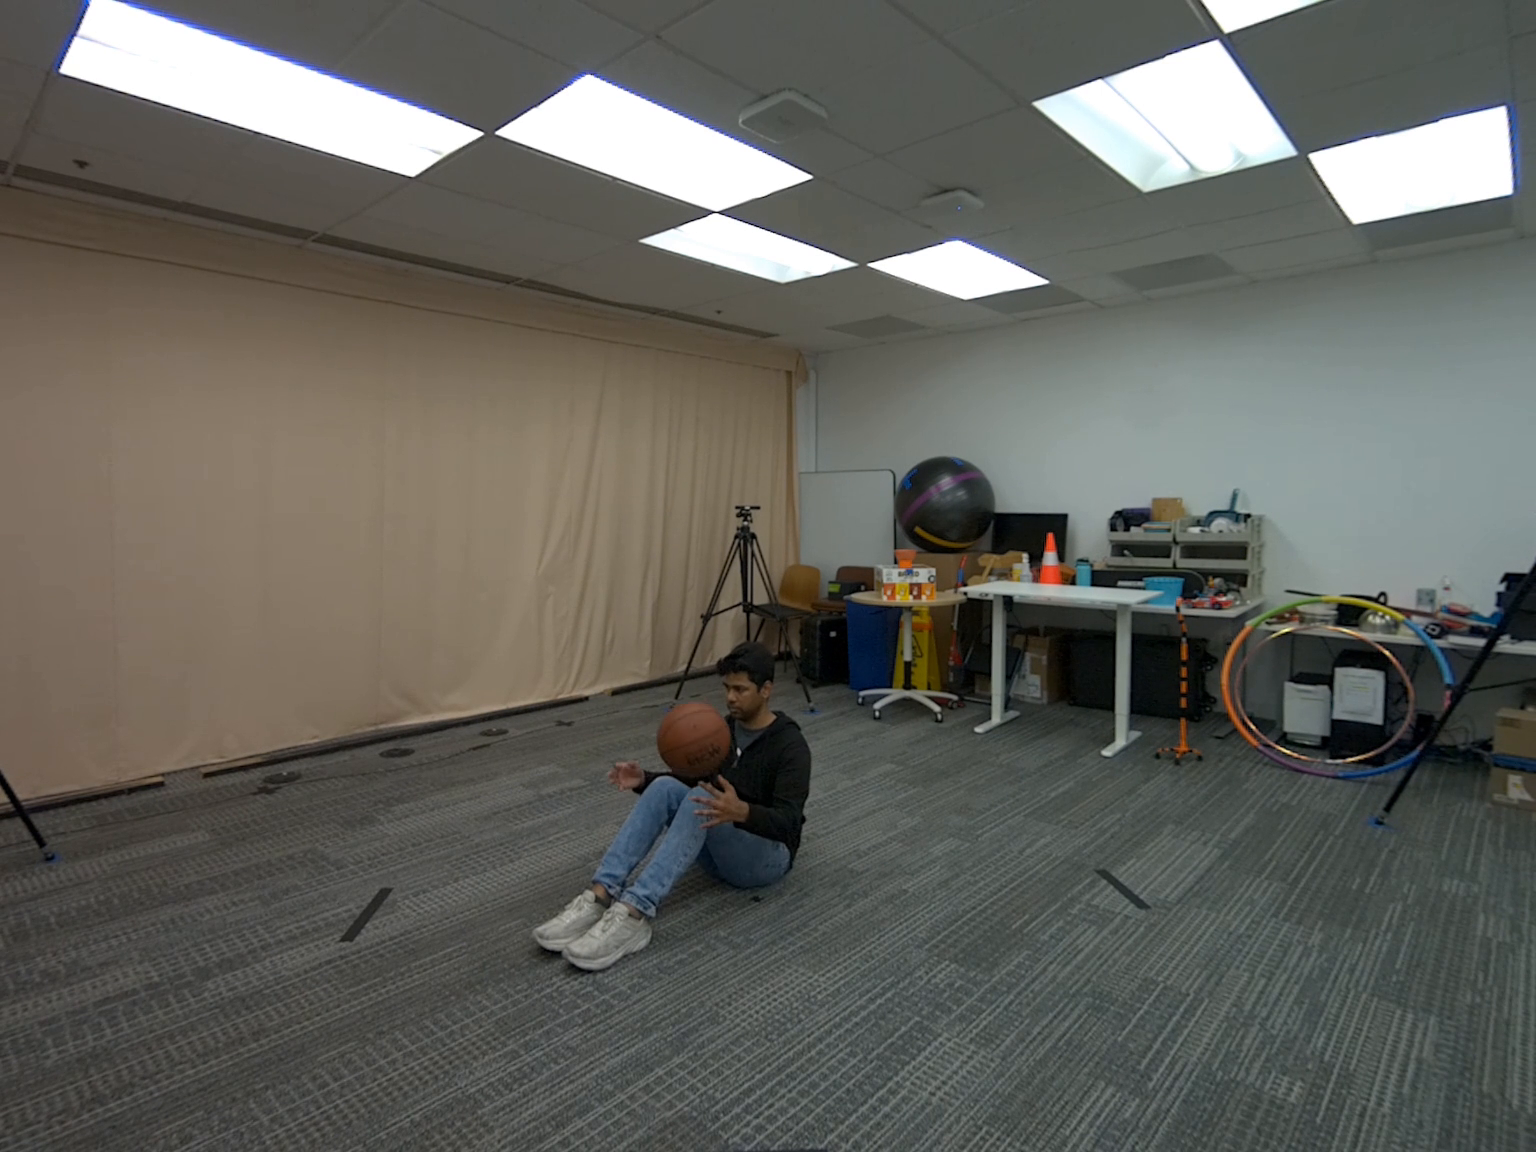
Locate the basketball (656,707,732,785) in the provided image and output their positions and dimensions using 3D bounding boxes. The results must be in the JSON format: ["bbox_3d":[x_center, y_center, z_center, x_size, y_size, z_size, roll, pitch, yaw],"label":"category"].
[{"bbox_3d":[-0.224,0.597,2.735,0.236,0.235,0.237,0,4,-2],"label":"basketball"}]
